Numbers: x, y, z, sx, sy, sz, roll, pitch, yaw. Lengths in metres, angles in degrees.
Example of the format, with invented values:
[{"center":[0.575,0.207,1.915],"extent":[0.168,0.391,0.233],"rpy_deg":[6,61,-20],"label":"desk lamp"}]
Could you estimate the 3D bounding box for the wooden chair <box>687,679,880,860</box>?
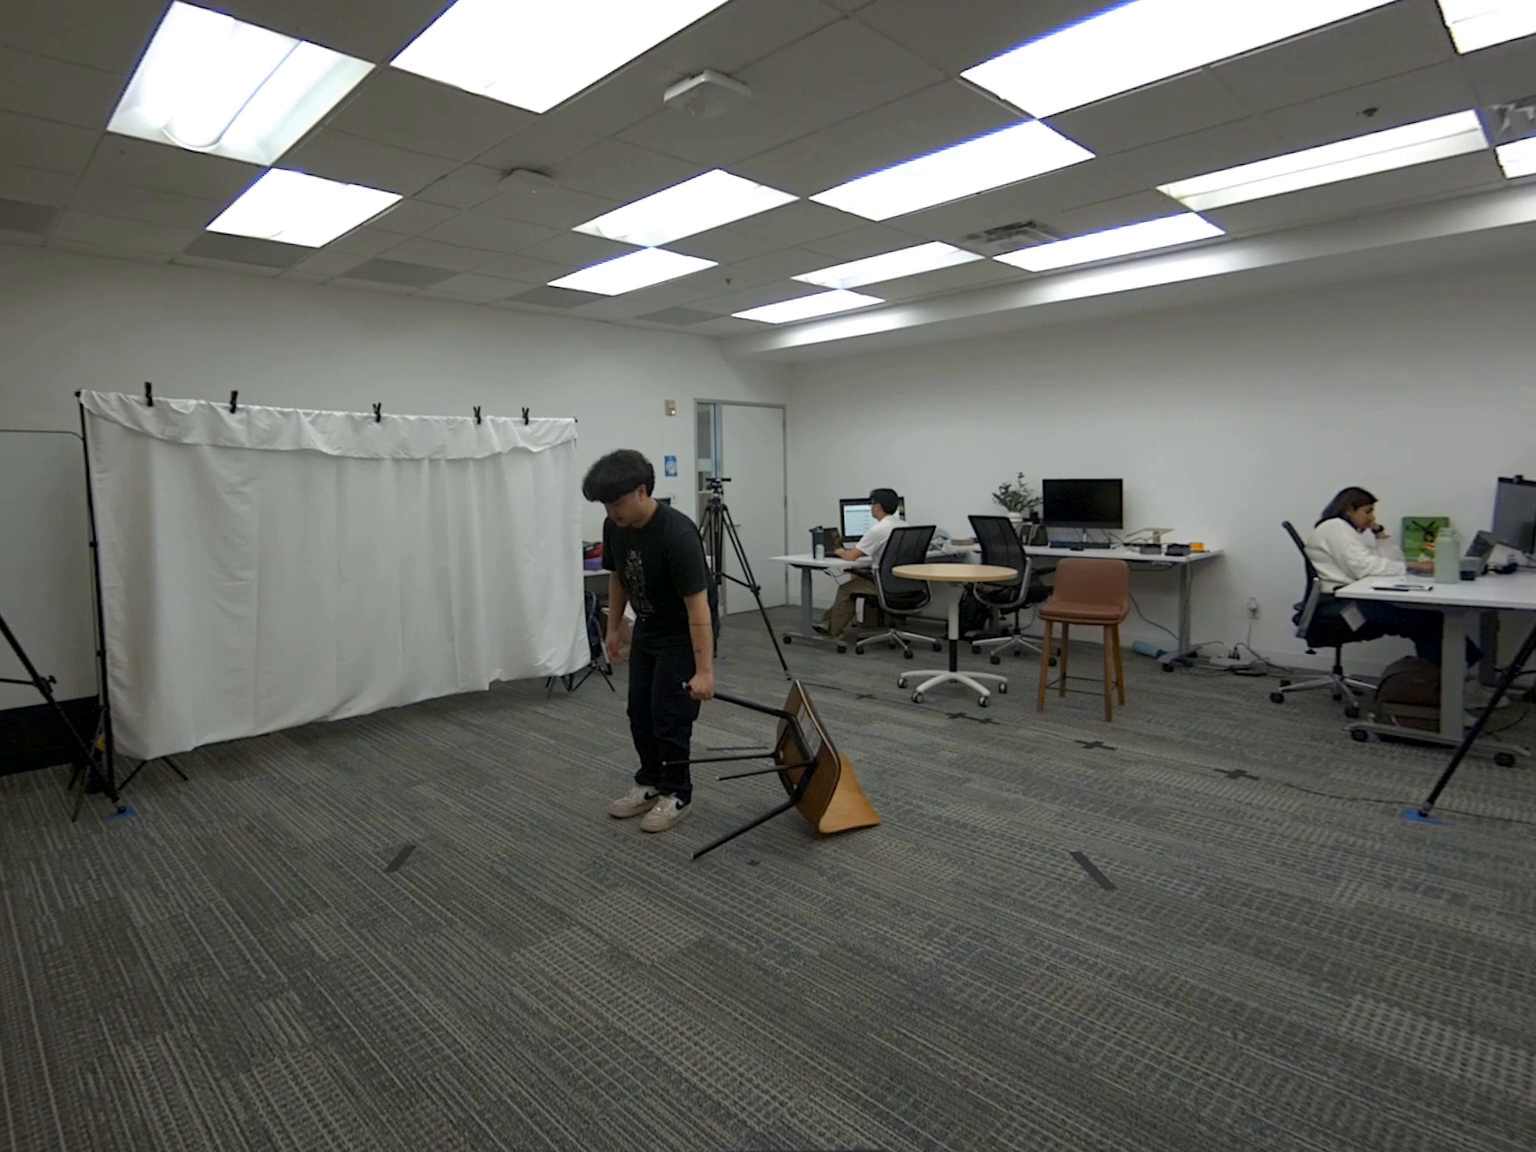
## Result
[{"center":[0.095,0.709,3.323],"extent":[0.858,0.515,0.496],"rpy_deg":[3,35,-24],"label":"wooden chair"}]
